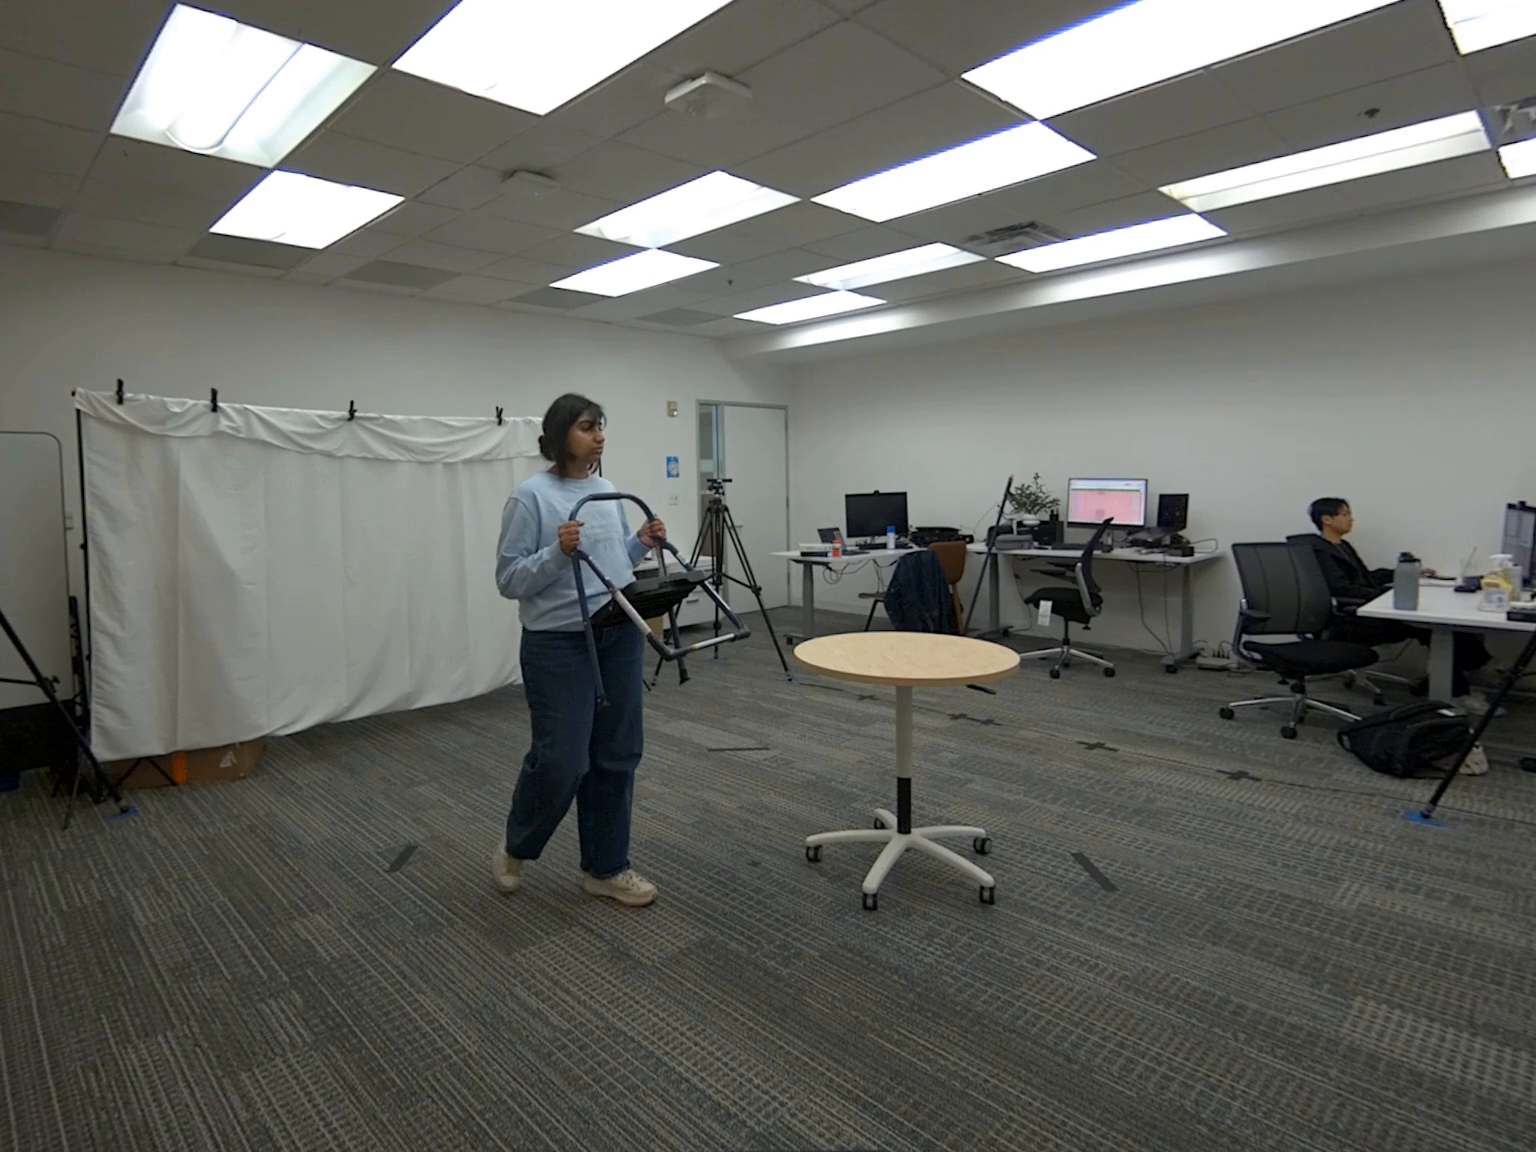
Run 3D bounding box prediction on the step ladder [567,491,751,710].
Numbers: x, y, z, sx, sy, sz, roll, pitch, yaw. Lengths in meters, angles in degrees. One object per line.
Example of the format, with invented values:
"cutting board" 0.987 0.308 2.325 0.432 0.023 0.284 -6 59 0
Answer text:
"step ladder" -0.418 0.036 2.693 0.351 0.617 0.420 -37 -16 30
